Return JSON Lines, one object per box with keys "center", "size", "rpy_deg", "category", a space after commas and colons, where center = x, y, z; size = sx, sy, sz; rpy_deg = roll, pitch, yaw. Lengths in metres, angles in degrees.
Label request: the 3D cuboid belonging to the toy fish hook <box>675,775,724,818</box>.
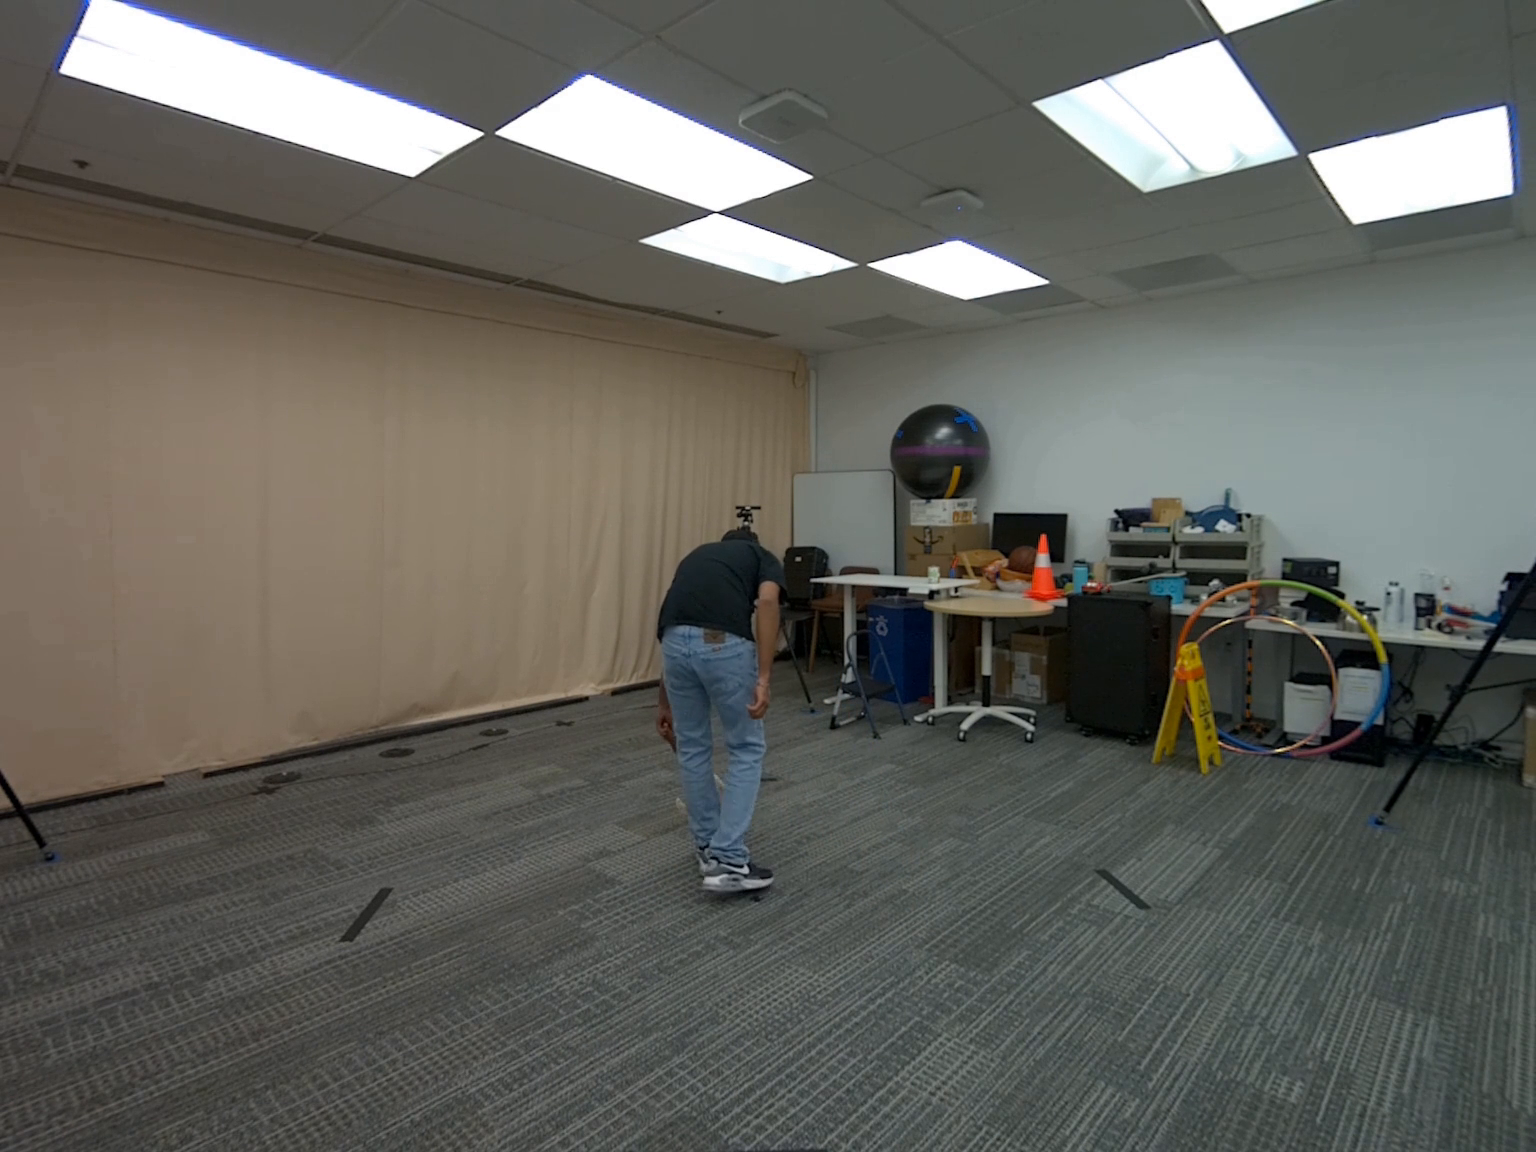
{"center": [-0.358, 0.861, 3.625], "size": [0.222, 0.498, 0.049], "rpy_deg": [-38, 16, -21], "category": "toy fish hook"}
